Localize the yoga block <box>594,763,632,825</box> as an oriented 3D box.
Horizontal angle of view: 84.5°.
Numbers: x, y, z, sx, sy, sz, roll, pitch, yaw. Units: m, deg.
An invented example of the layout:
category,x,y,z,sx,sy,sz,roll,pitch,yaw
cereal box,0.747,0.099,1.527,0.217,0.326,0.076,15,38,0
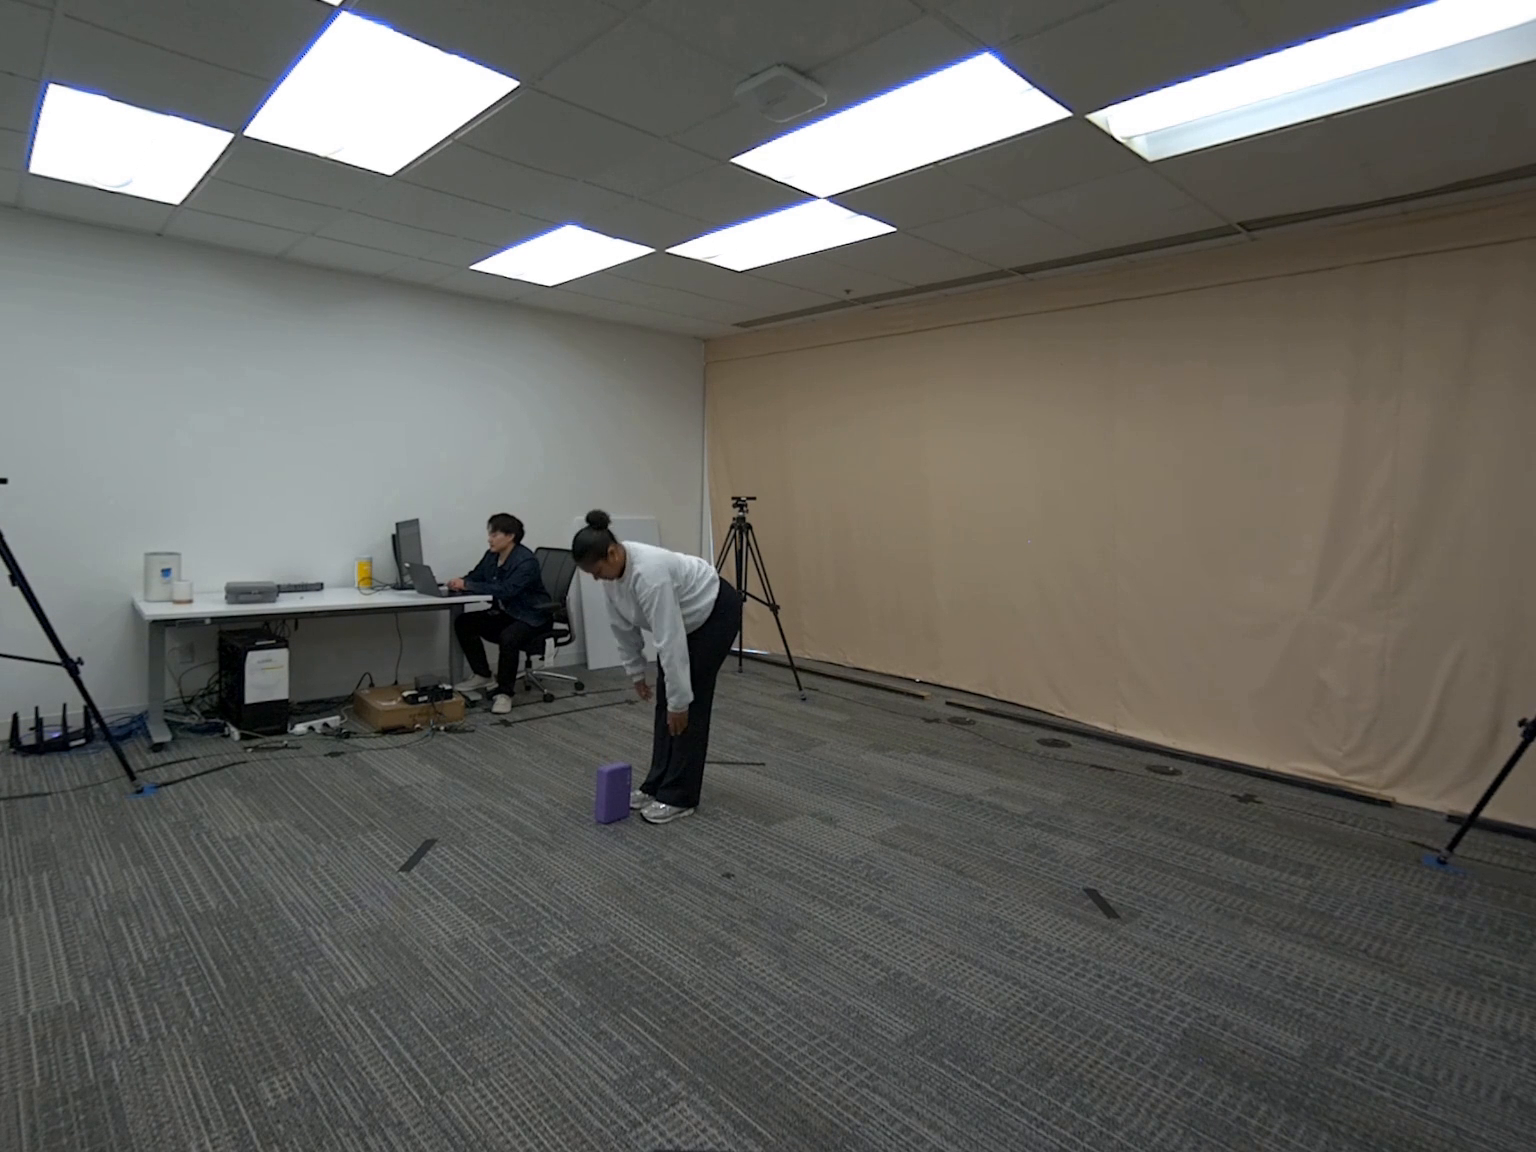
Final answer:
category,x,y,z,sx,sy,sz,roll,pitch,yaw
yoga block,-0.674,0.927,3.616,0.078,0.229,0.145,6,4,37
